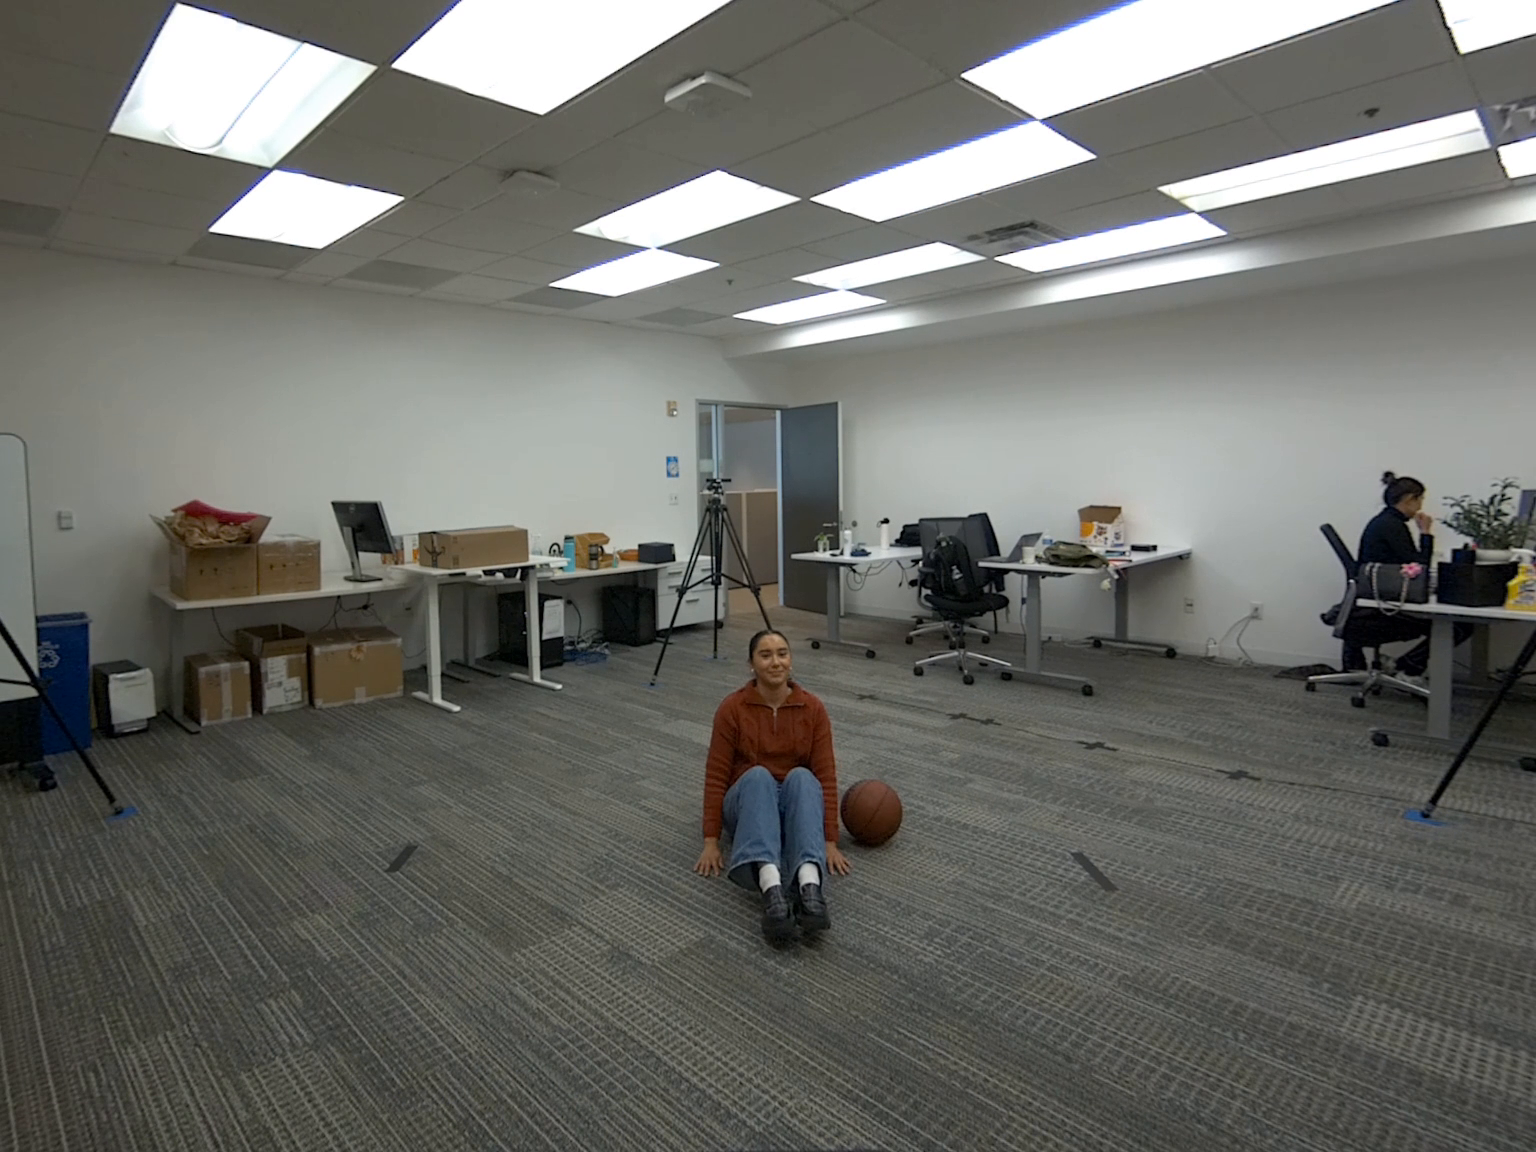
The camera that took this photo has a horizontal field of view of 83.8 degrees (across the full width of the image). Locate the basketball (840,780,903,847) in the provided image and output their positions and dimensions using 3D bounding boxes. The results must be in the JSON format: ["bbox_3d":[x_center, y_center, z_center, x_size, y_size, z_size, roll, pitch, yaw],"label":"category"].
[{"bbox_3d":[0.394,0.895,3.264,0.236,0.235,0.237,-1,5,-2],"label":"basketball"}]
